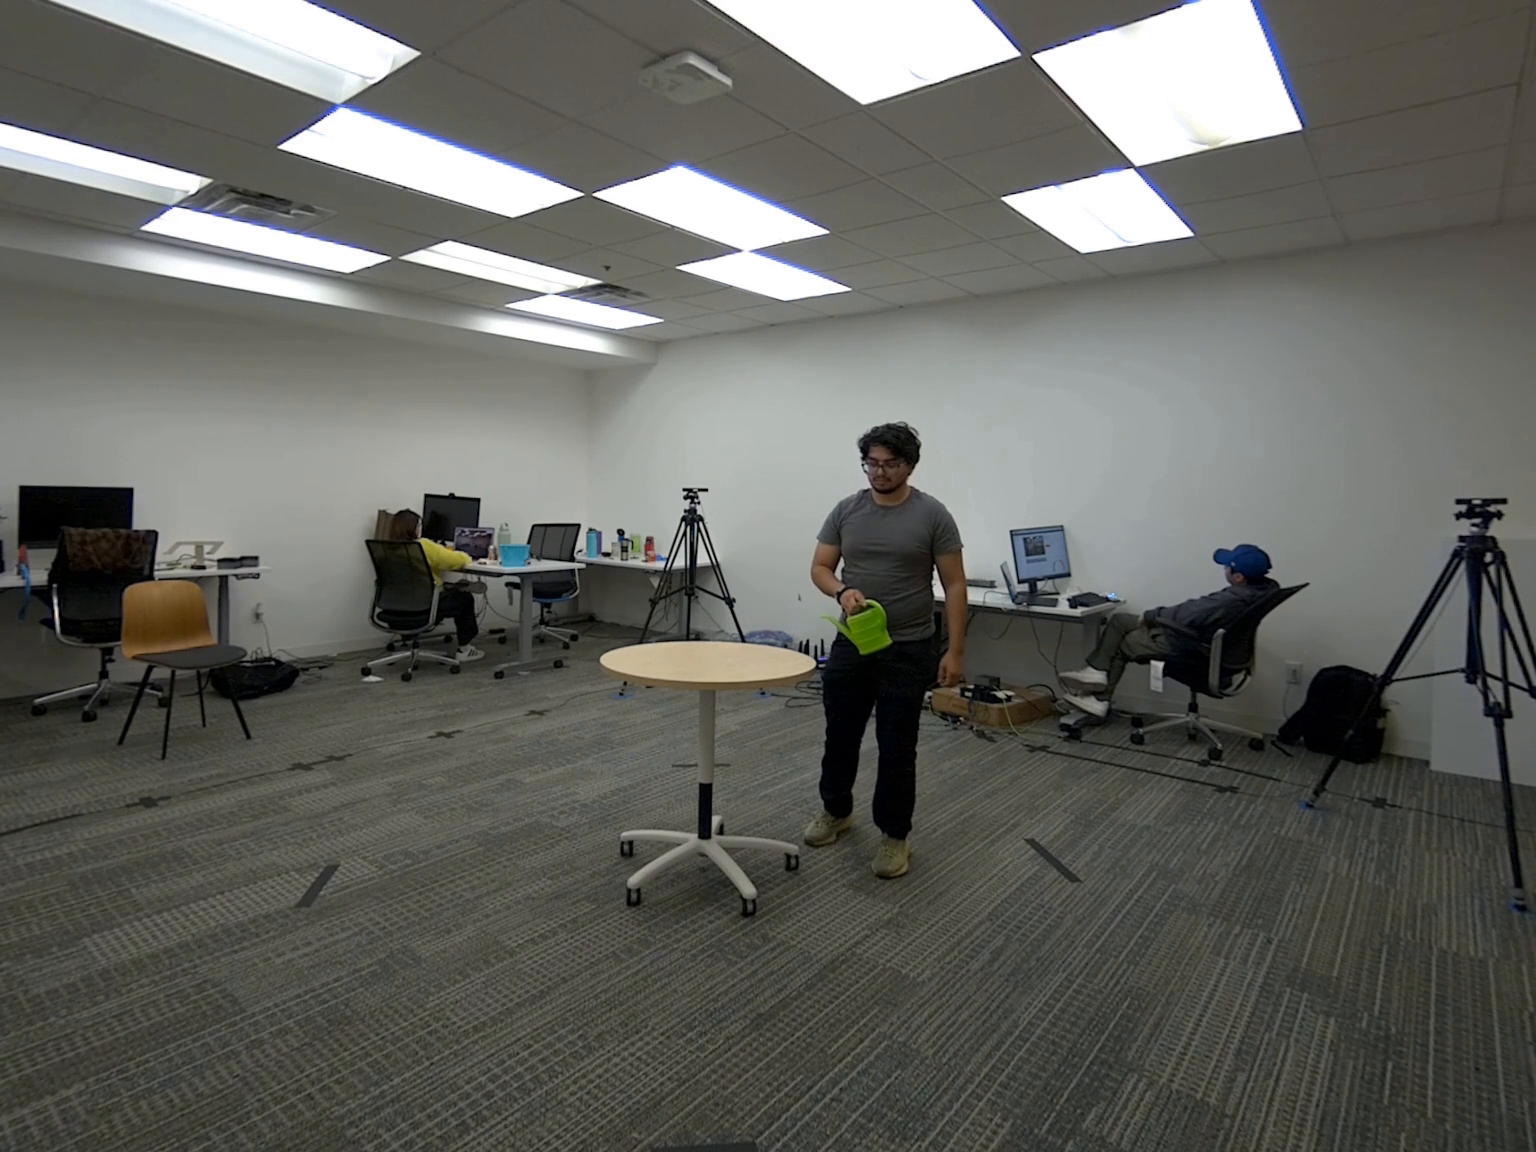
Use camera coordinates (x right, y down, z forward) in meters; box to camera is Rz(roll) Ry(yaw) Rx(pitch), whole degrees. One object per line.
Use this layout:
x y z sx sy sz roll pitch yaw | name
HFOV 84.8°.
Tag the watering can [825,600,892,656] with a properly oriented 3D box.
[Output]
0.322 0.176 2.996 0.096 0.177 0.281 -22 -1 -25 | watering can
